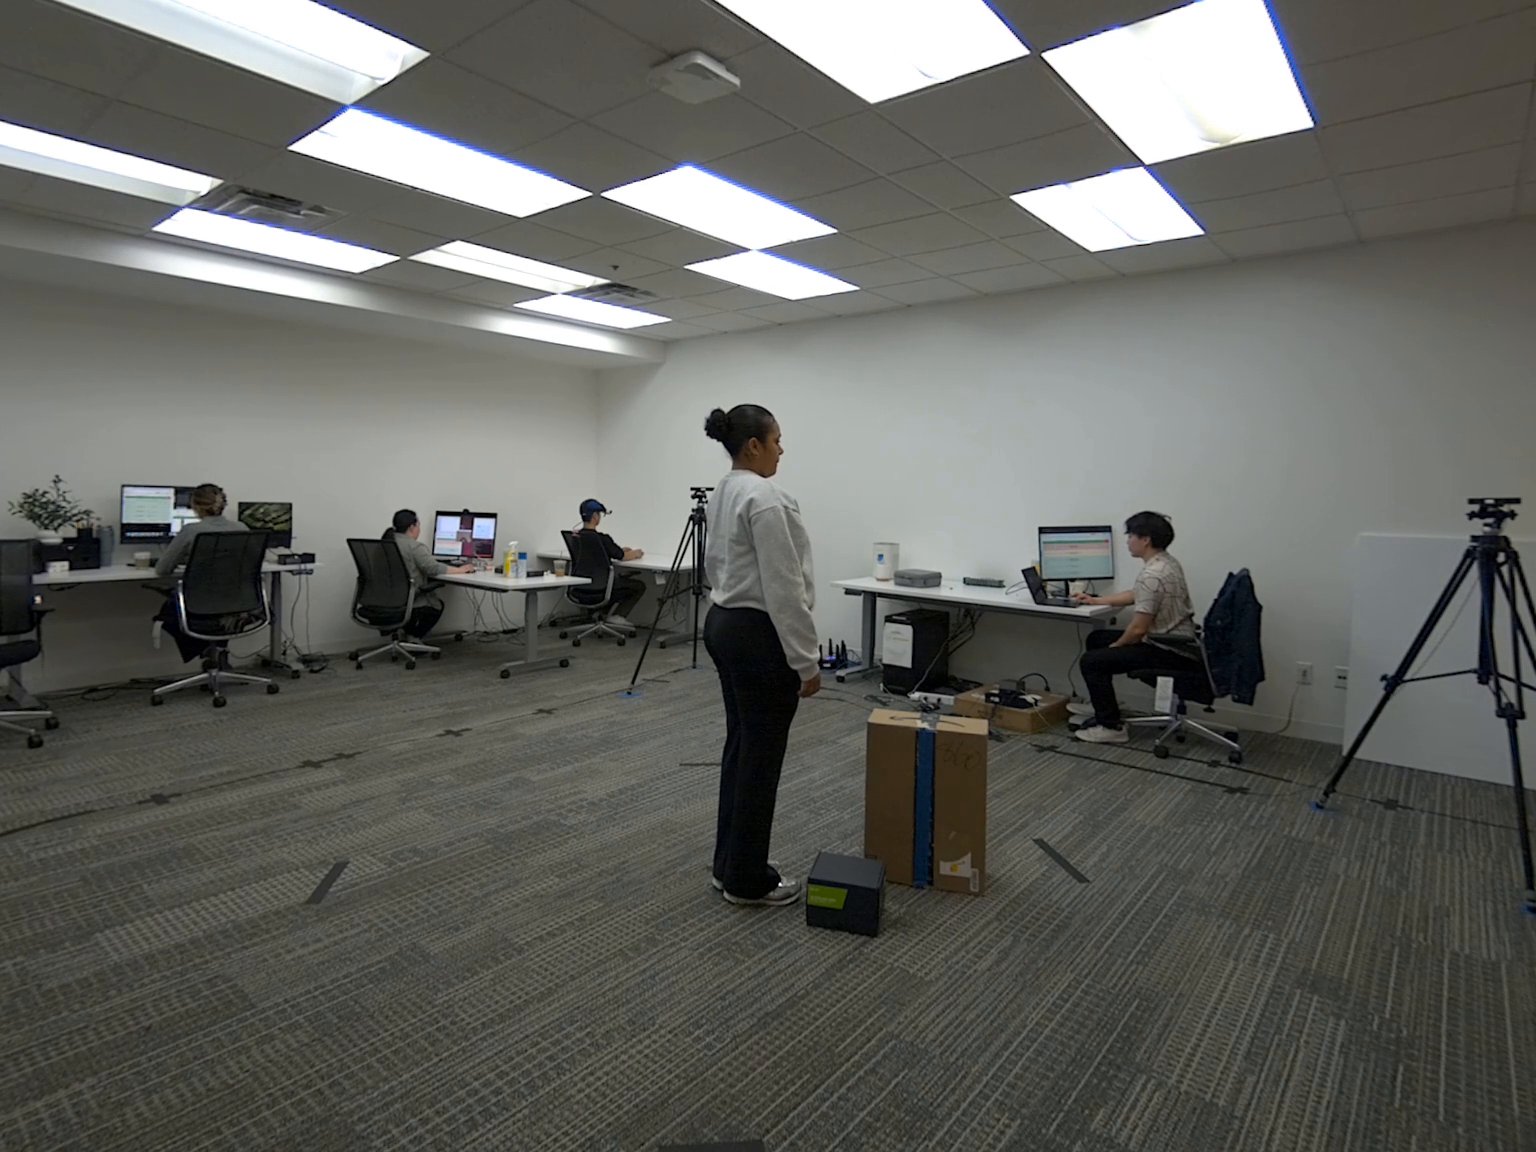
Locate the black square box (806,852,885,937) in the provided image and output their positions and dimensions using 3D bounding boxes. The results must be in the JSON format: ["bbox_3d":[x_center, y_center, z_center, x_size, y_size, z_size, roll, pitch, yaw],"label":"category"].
[{"bbox_3d":[0.252,1.028,2.777,0.232,0.155,0.214,4,5,15],"label":"black square box"}]
